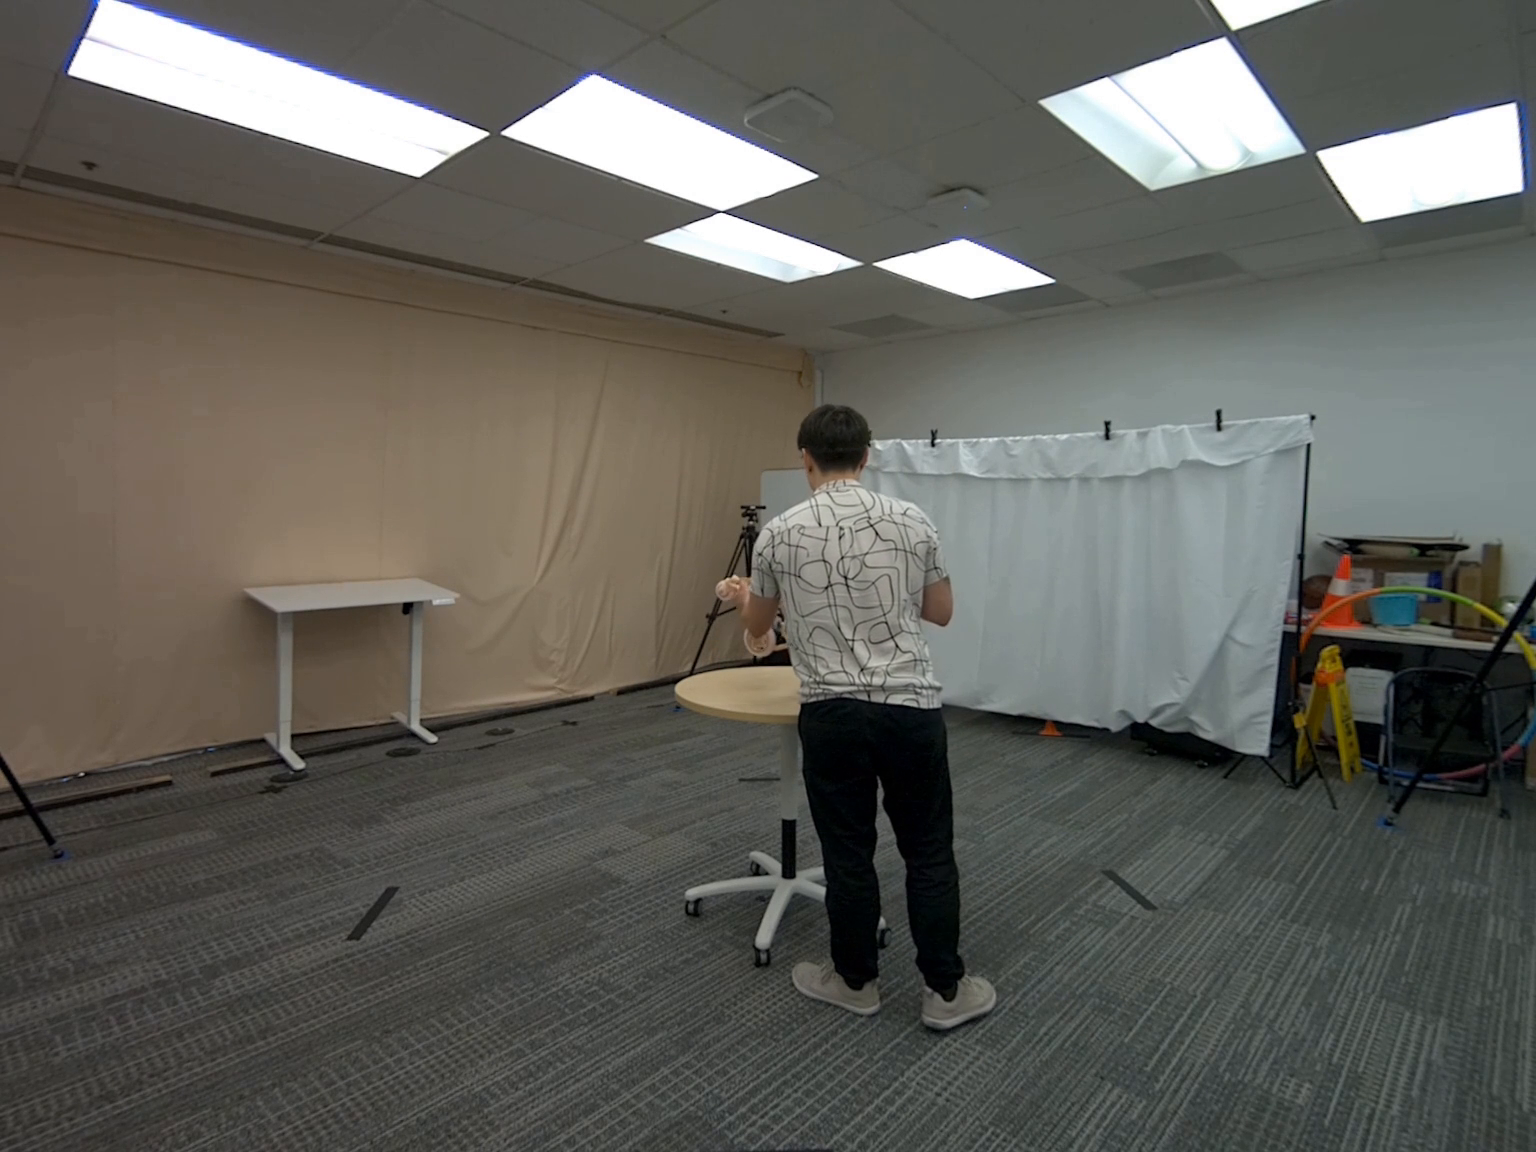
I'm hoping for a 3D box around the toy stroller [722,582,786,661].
[{"bbox_3d":[0.086,0.015,2.727,0.539,0.349,0.273,-43,-23,28],"label":"toy stroller"}]
